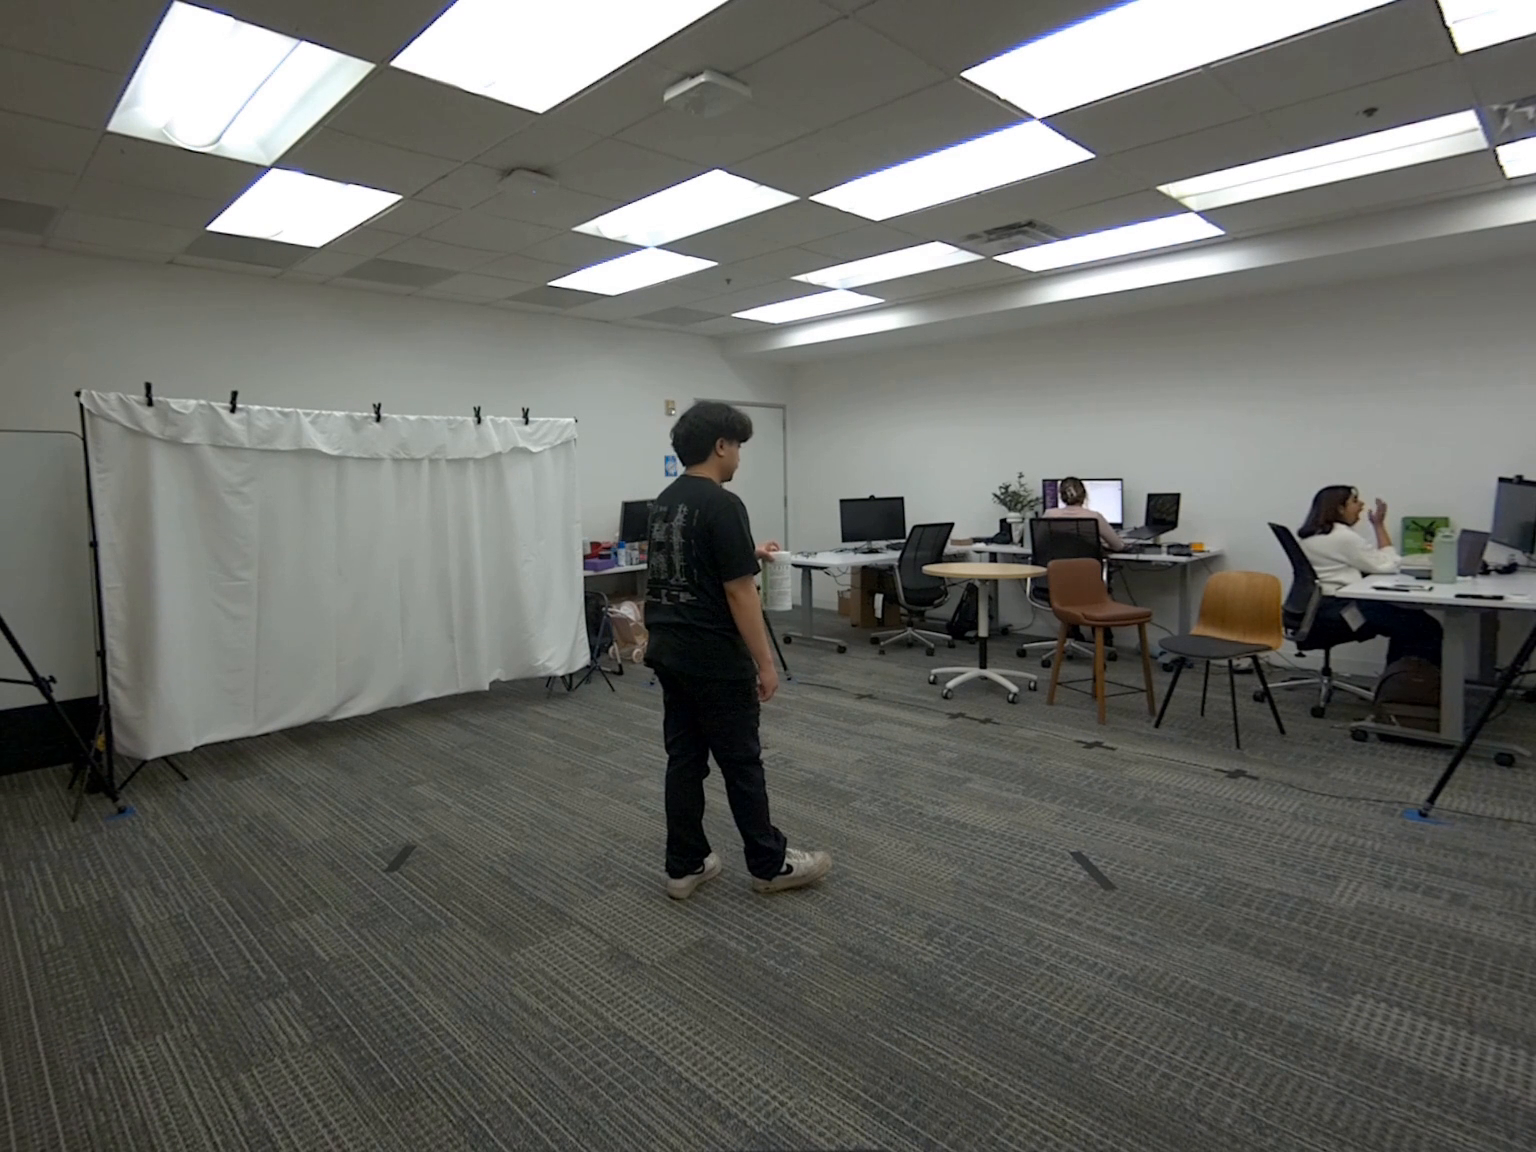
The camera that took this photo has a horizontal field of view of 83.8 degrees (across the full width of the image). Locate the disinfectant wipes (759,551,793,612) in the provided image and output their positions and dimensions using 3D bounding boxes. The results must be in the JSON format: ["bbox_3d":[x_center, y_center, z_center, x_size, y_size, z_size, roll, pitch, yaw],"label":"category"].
[{"bbox_3d":[0.040,0.019,3.137,0.118,0.217,0.118,1,1,-2],"label":"disinfectant wipes"}]
